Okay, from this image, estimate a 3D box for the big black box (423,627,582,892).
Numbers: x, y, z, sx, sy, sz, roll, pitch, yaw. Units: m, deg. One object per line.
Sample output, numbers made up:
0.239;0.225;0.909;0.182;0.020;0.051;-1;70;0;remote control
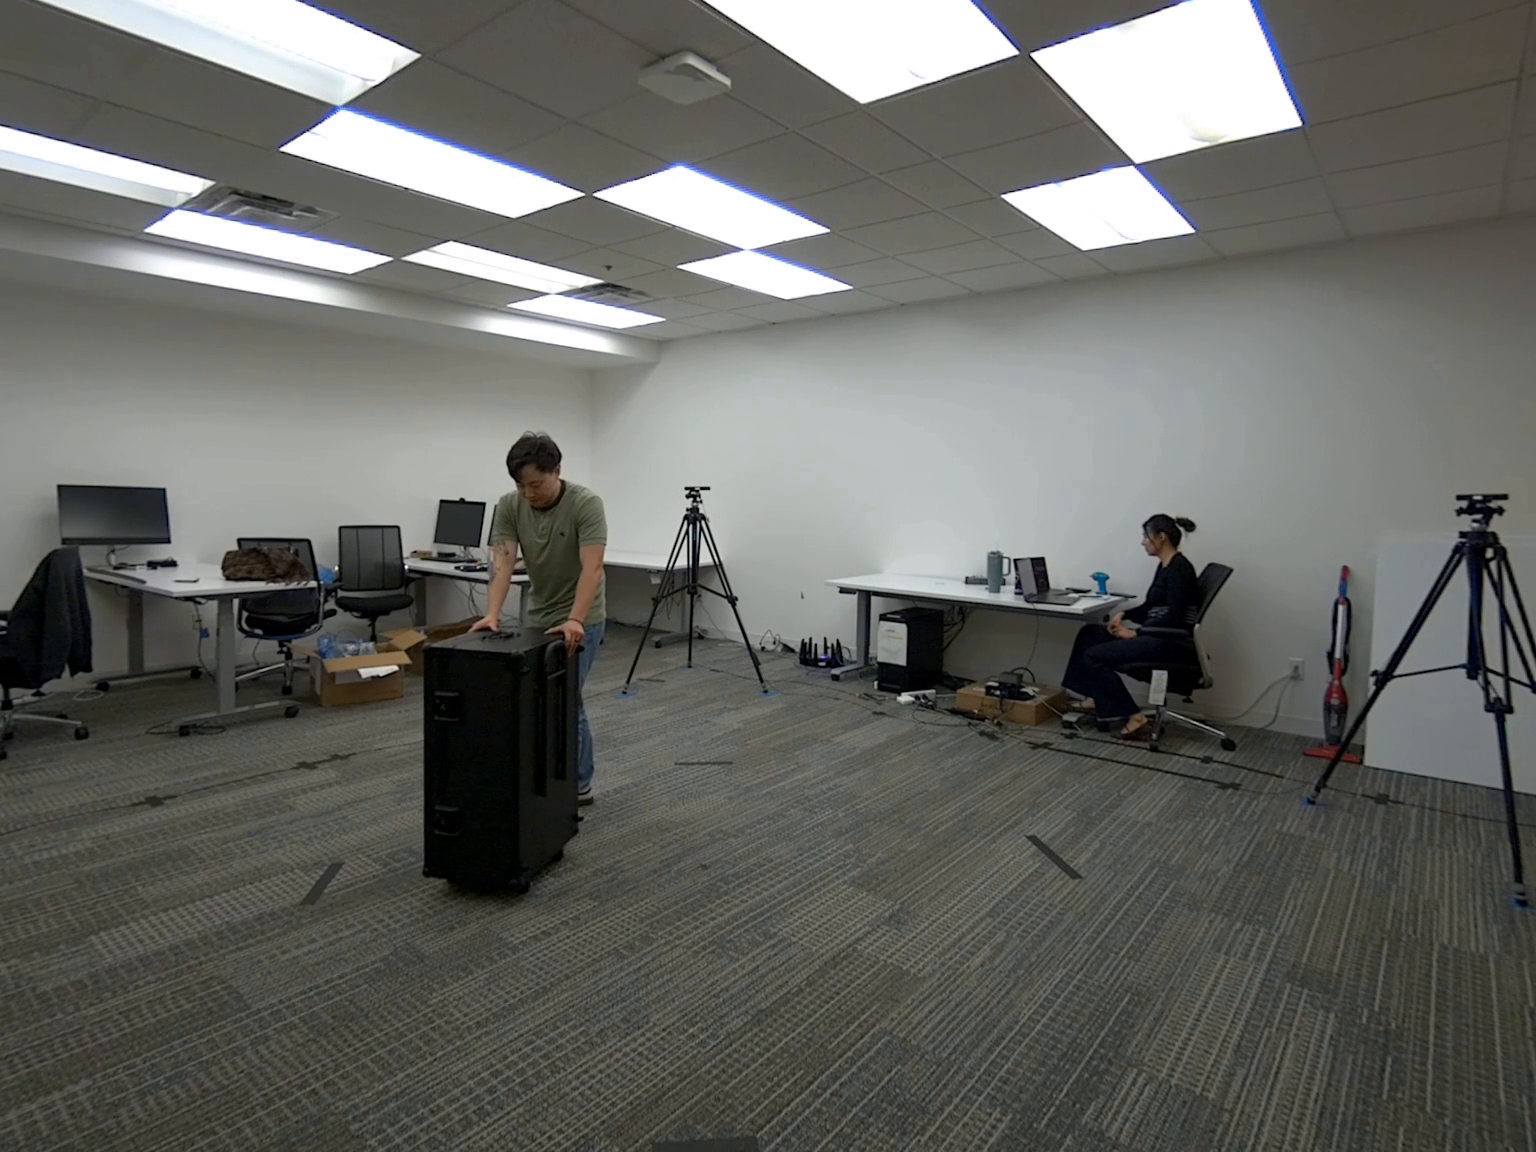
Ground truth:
-0.939;0.646;3.027;0.402;0.858;0.515;3;4;12;big black box
